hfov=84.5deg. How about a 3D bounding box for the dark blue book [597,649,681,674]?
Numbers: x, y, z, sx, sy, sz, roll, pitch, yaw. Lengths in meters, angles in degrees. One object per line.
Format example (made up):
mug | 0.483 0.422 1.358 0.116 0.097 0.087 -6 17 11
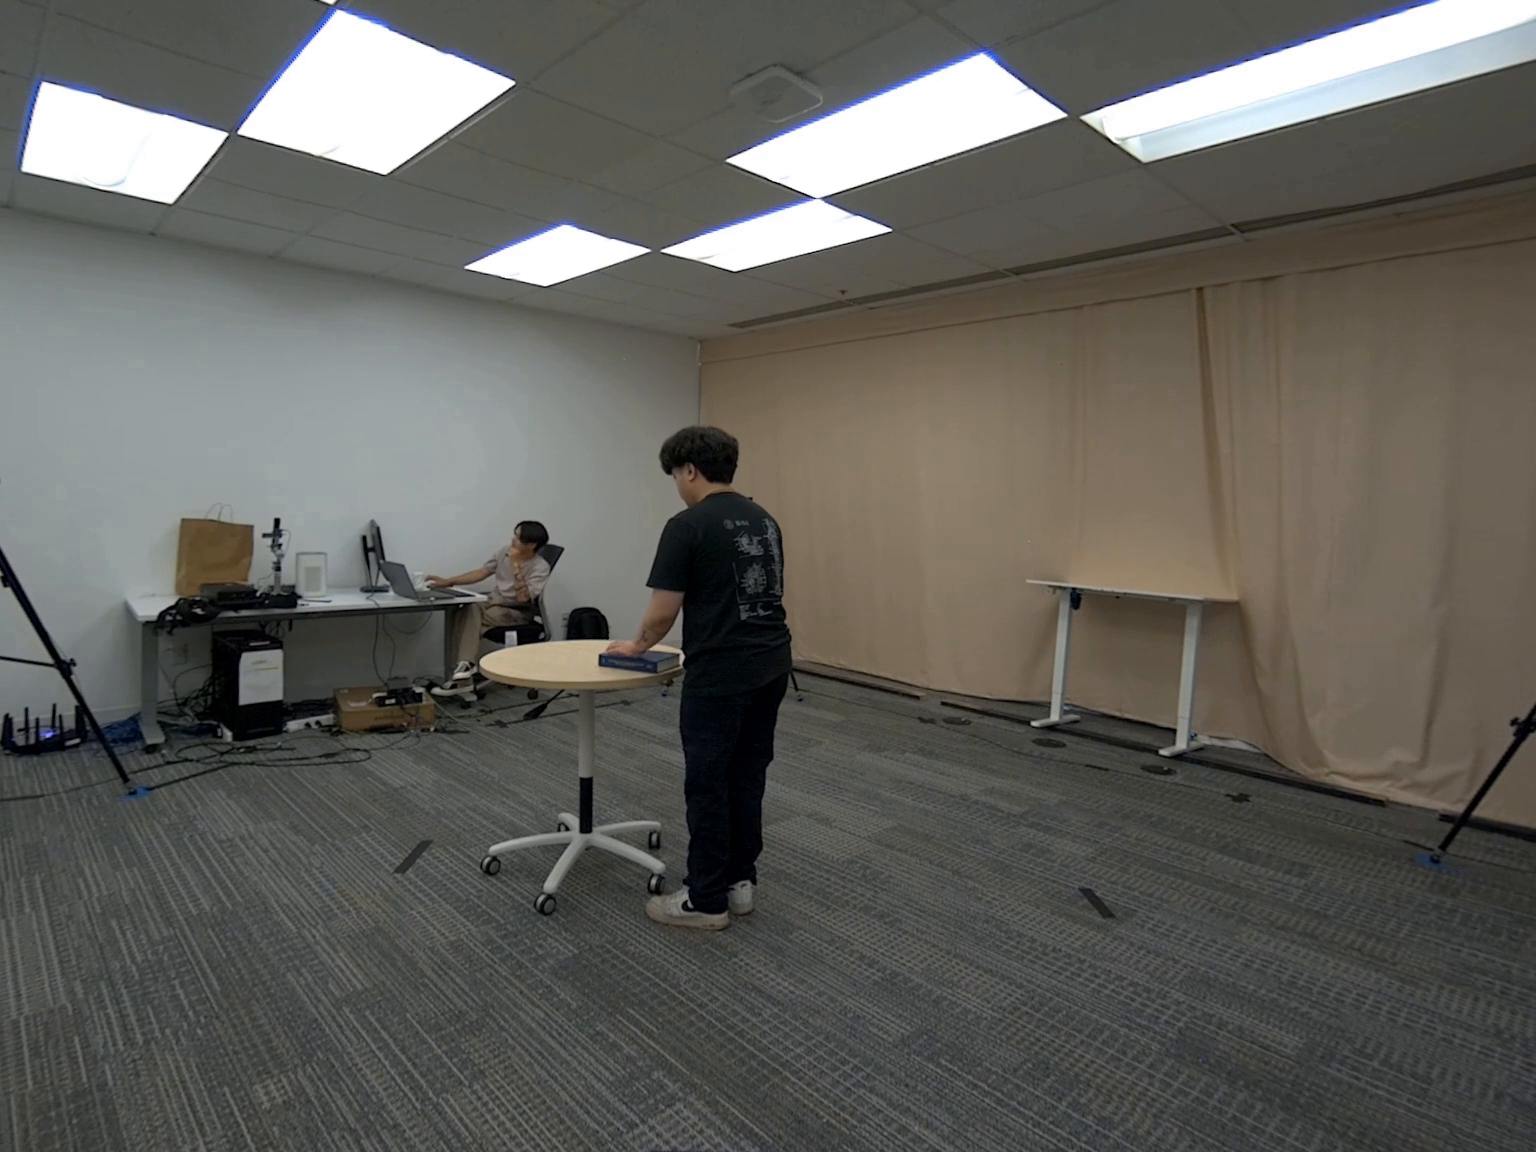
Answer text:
dark blue book | -0.459 0.295 2.983 0.250 0.045 0.161 3 6 26
